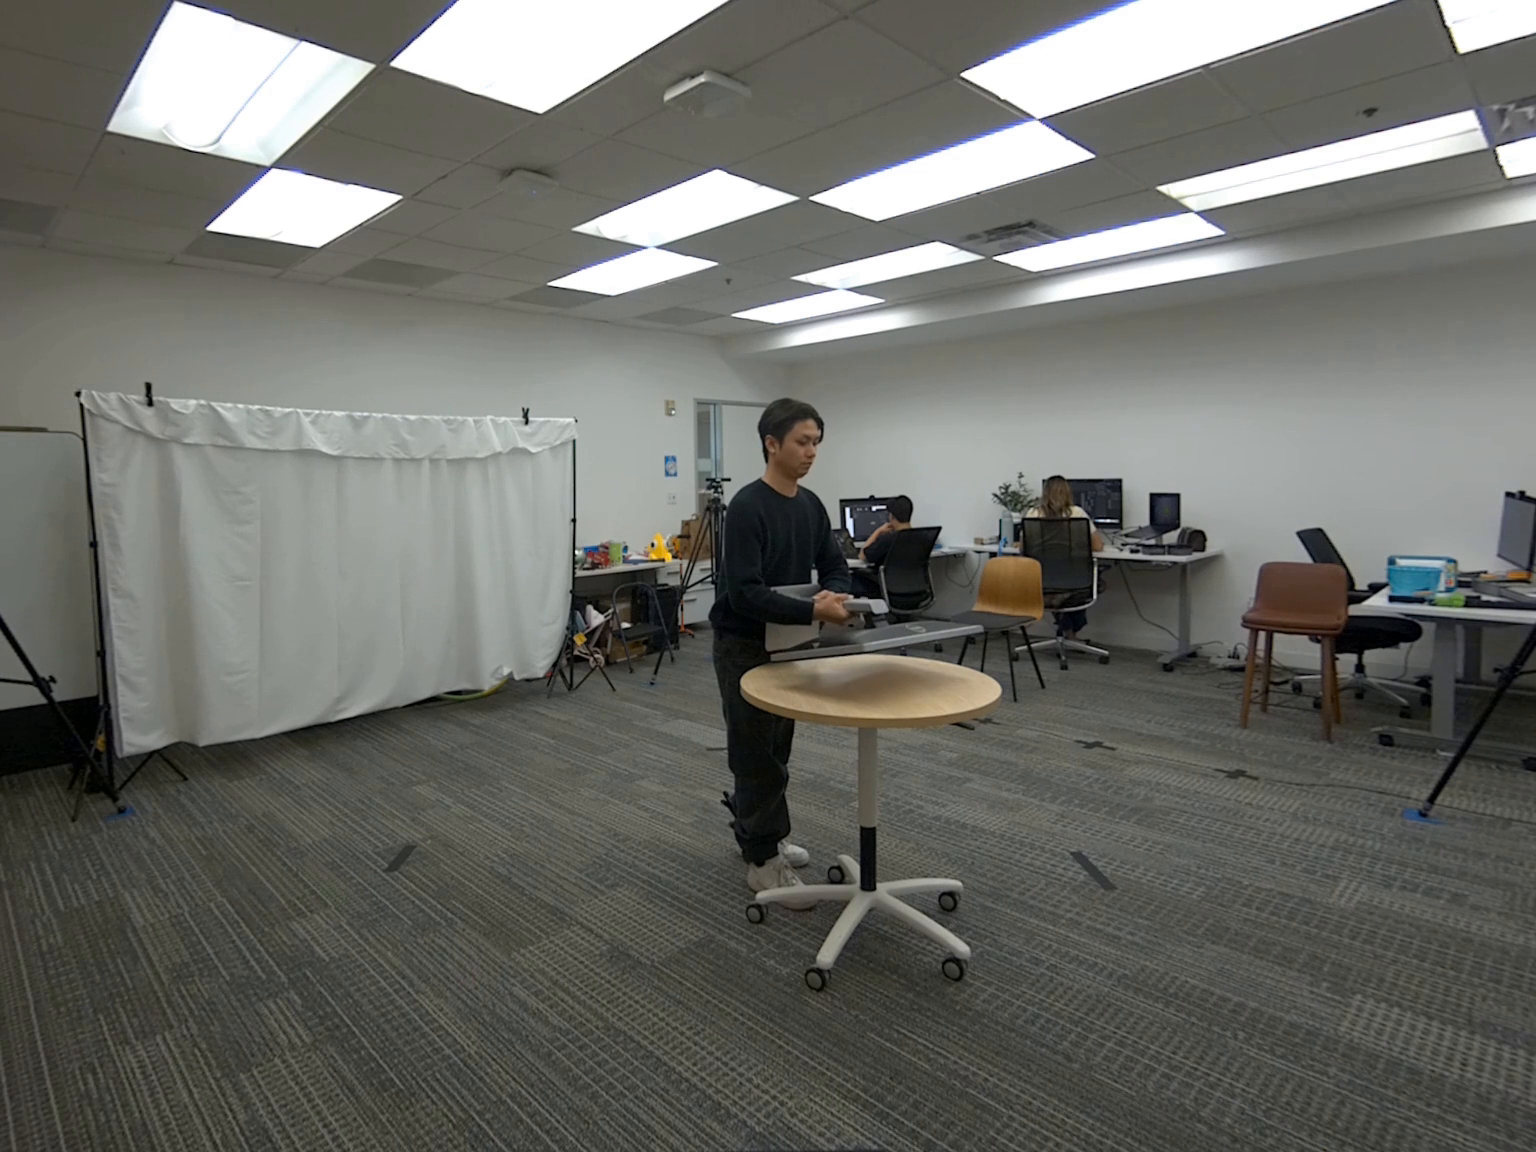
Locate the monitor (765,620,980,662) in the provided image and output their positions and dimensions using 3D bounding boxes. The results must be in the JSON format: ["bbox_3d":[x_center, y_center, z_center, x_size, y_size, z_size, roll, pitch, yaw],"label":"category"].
[{"bbox_3d":[0.269,0.163,2.599,0.525,0.186,0.538,-5,7,-39],"label":"monitor"}]
